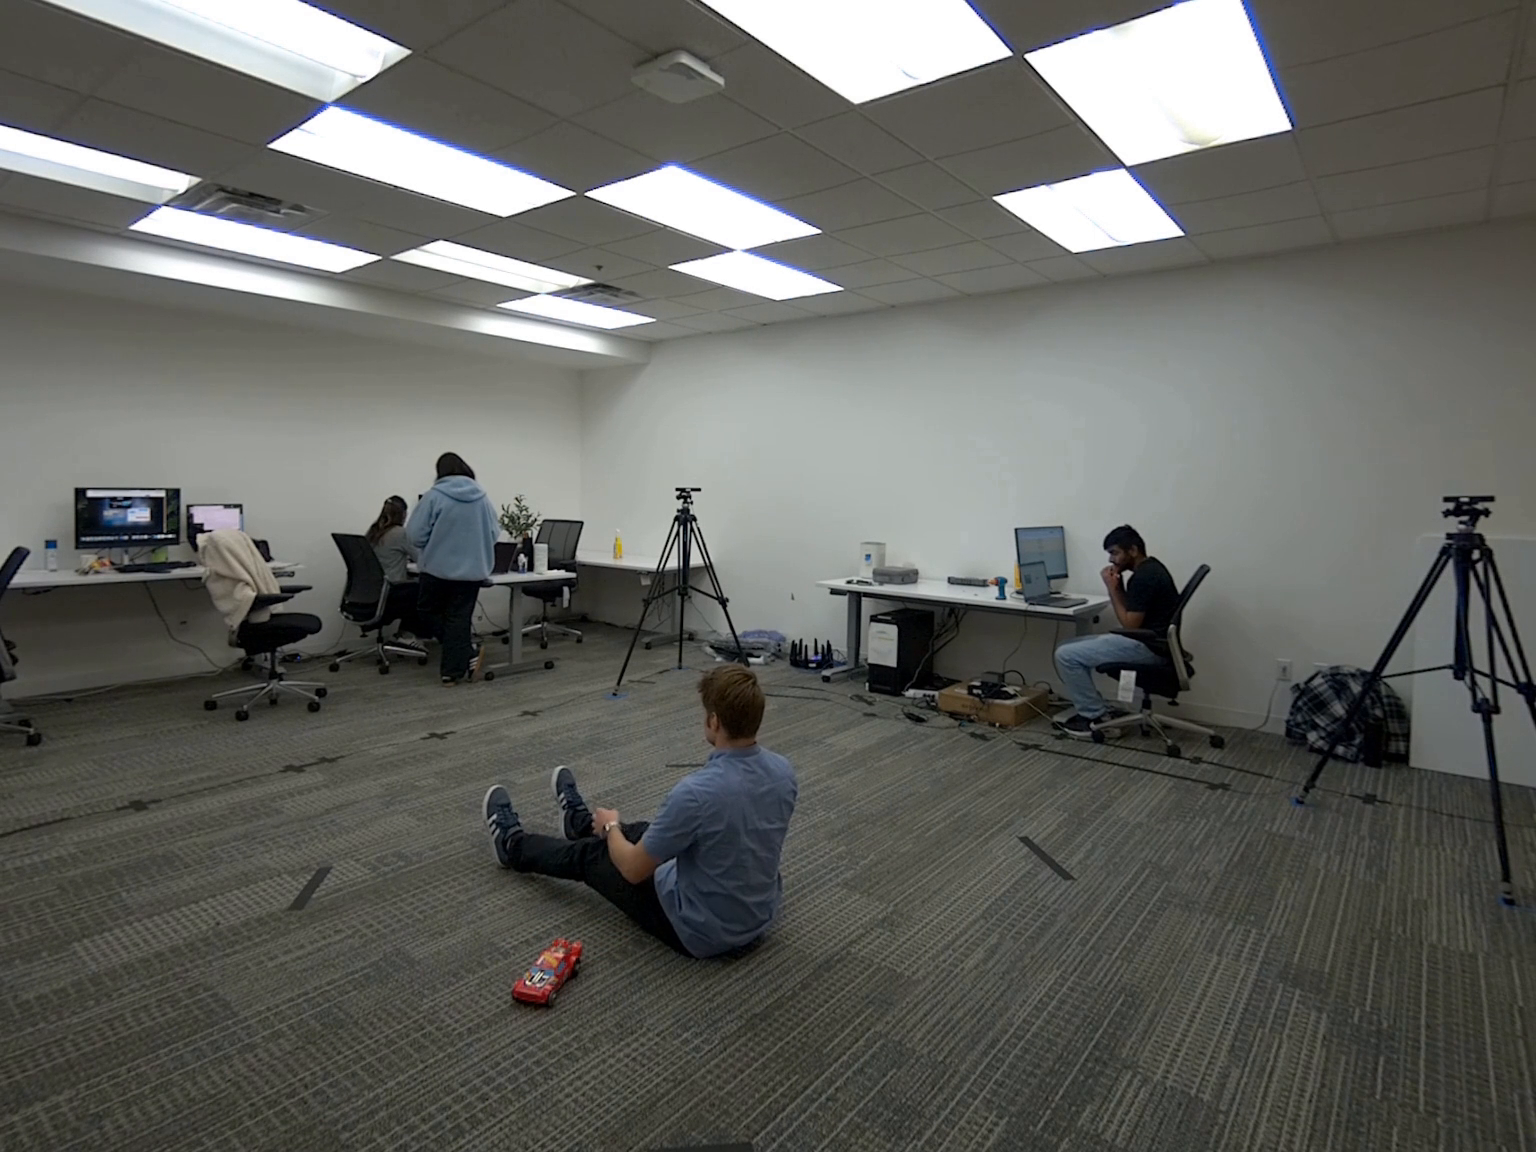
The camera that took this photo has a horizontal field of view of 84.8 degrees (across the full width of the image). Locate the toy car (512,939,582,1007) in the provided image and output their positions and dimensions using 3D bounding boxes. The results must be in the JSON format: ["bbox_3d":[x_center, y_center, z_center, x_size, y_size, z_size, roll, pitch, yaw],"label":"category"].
[{"bbox_3d":[-0.614,1.107,2.382,0.133,0.082,0.253,1,16,16],"label":"toy car"}]
